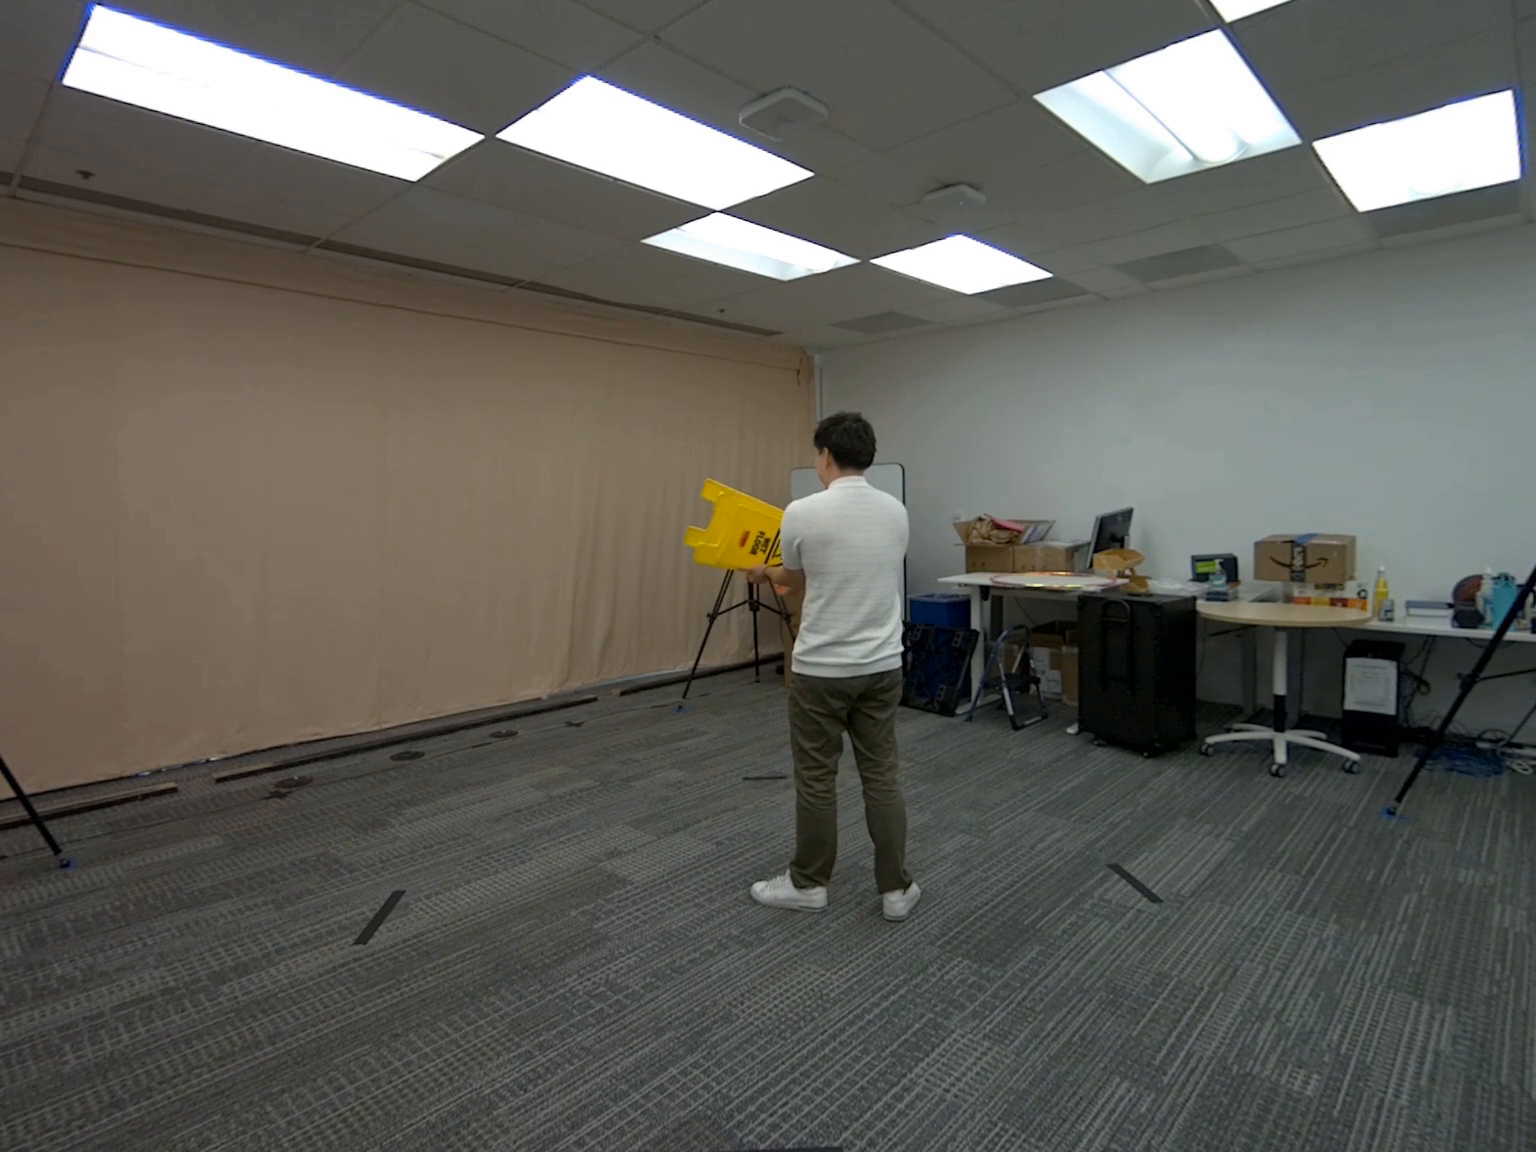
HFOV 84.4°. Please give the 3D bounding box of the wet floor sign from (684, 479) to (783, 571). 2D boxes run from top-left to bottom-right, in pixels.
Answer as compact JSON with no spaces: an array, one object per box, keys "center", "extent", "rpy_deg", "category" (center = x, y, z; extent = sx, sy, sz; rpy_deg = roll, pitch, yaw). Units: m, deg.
[{"center":[0.038,-0.119,3.283],"extent":[0.635,0.281,0.295],"rpy_deg":[19,11,-14],"category":"wet floor sign"}]
